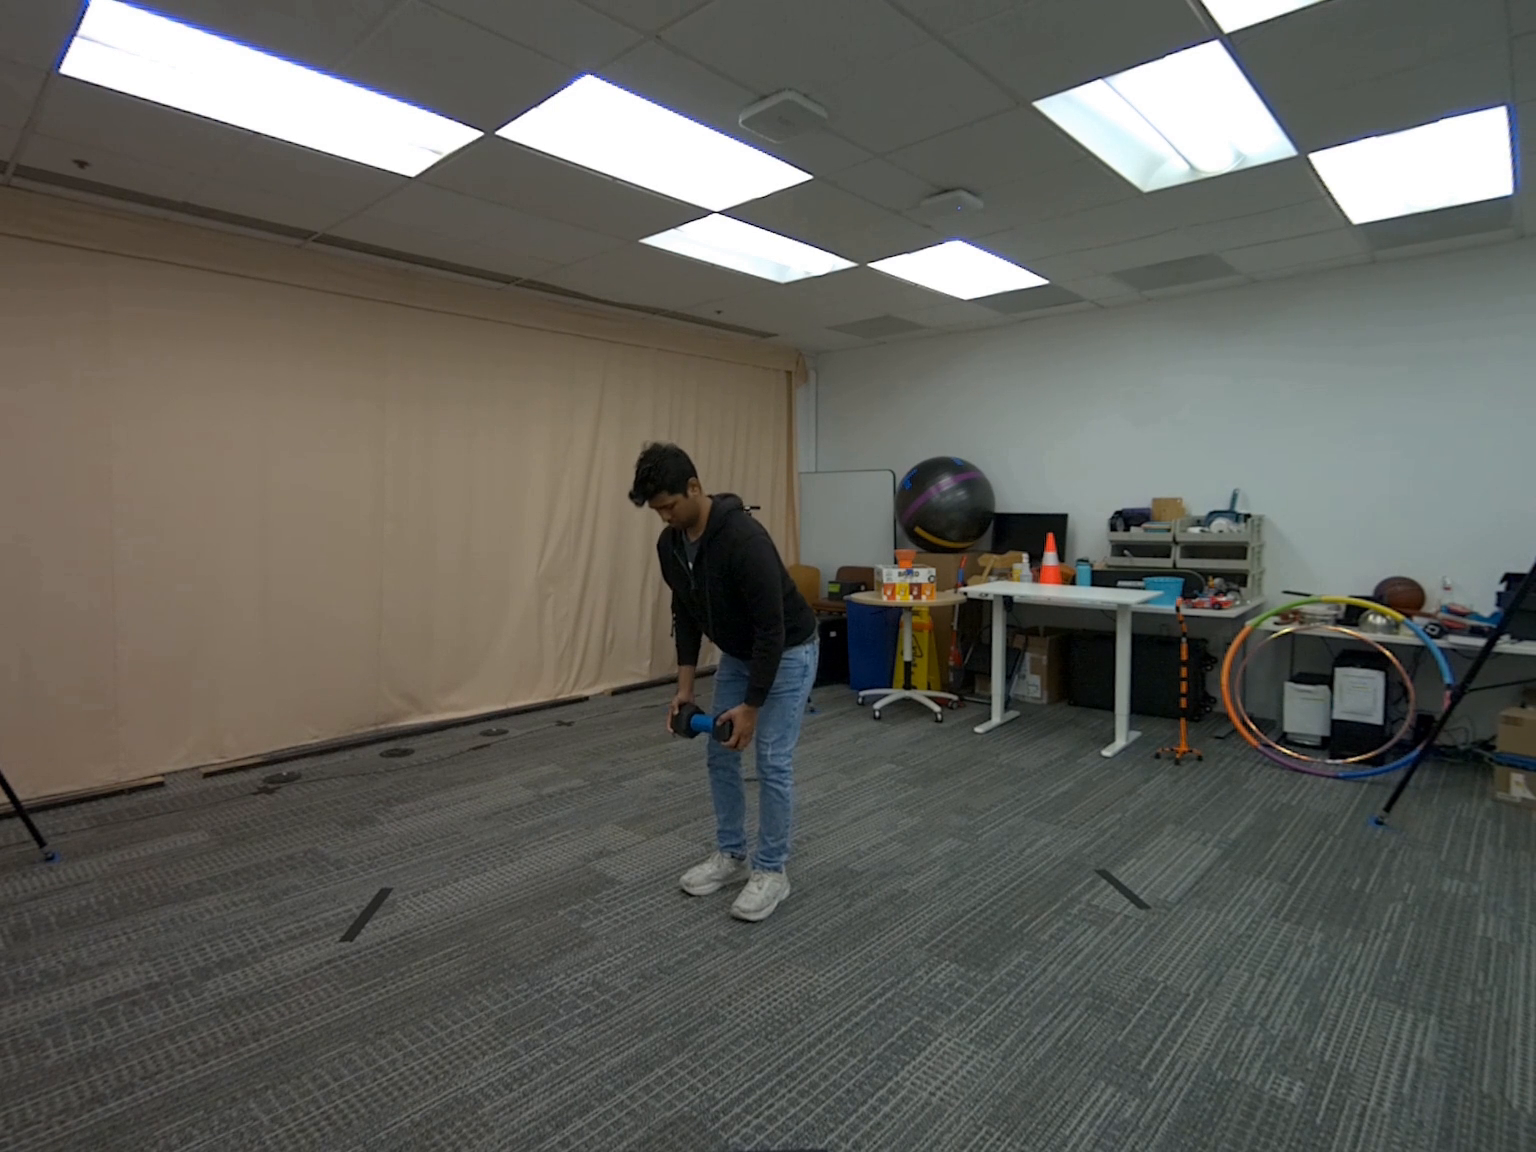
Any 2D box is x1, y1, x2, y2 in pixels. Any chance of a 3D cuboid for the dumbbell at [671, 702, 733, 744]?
[{"bbox_3d":[-0.192,0.514,2.901,0.303,0.109,0.119,-1,-33,46],"label":"dumbbell"}]
